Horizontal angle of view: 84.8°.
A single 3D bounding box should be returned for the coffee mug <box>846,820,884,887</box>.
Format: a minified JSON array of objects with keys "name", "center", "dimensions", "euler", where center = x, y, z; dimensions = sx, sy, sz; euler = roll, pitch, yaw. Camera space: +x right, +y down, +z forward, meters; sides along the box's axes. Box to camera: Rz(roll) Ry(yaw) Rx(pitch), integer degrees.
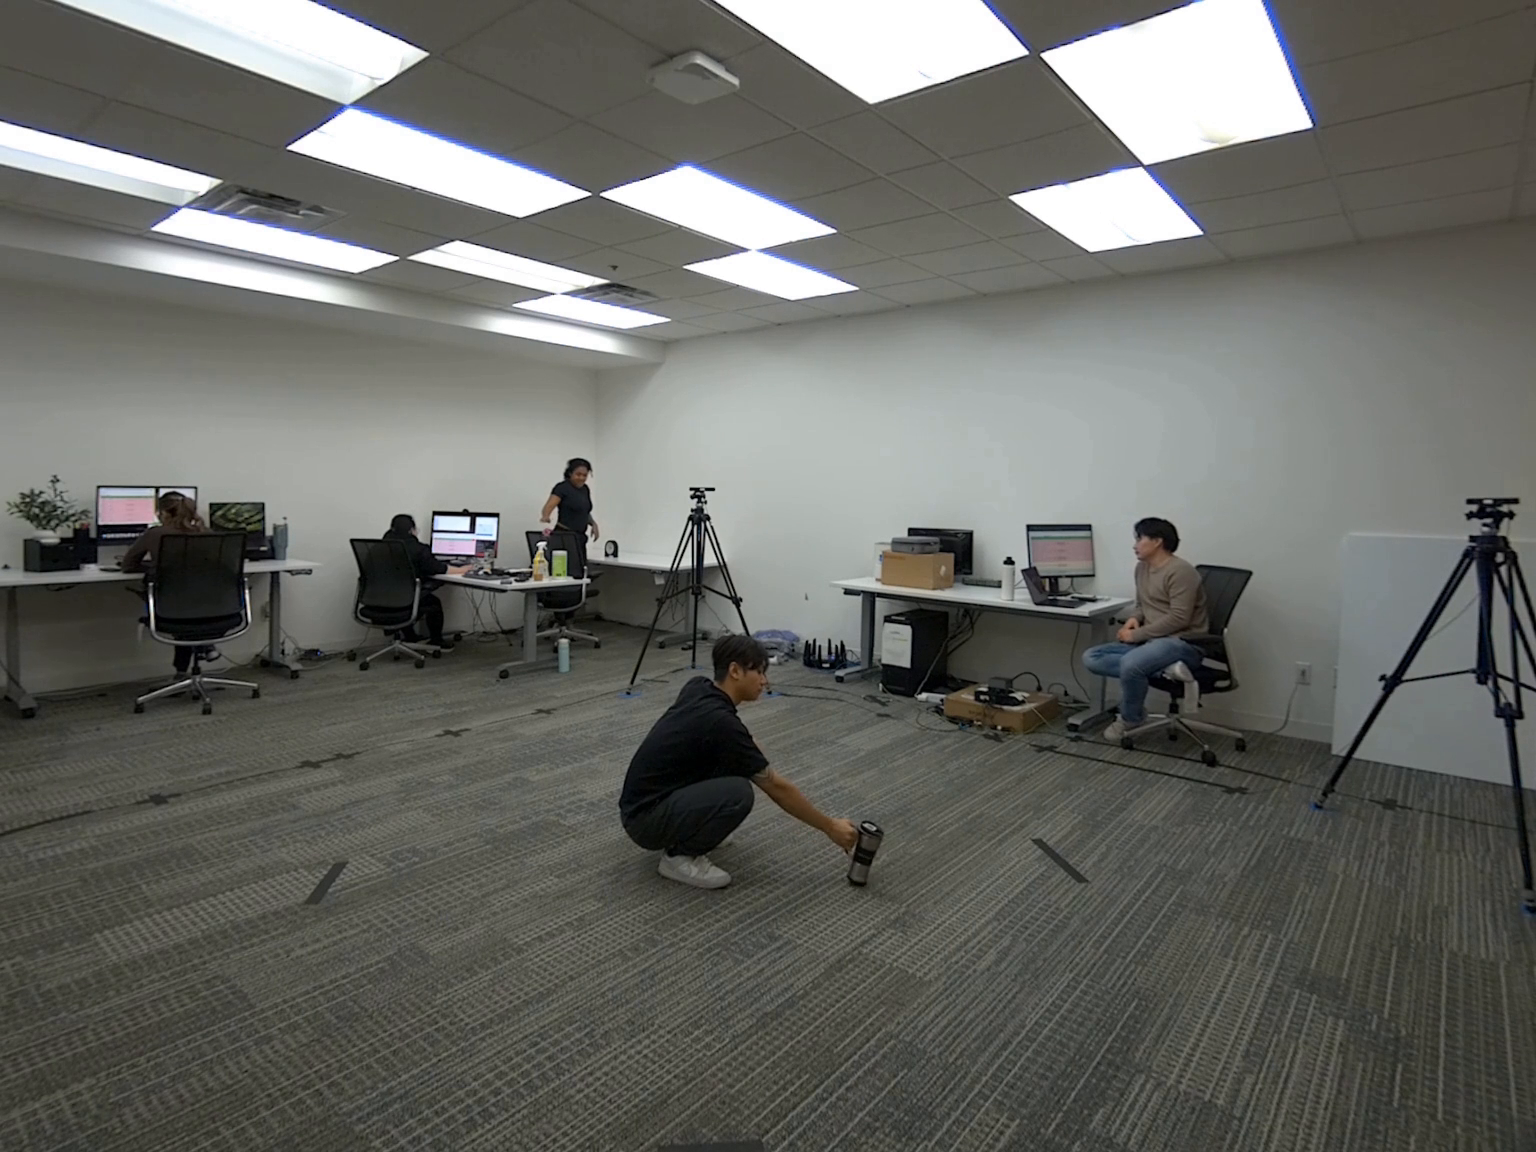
[{"name":"coffee mug","center":[0.330,0.970,3.028],"dimensions":[0.127,0.202,0.085],"euler":[22,11,38]}]
